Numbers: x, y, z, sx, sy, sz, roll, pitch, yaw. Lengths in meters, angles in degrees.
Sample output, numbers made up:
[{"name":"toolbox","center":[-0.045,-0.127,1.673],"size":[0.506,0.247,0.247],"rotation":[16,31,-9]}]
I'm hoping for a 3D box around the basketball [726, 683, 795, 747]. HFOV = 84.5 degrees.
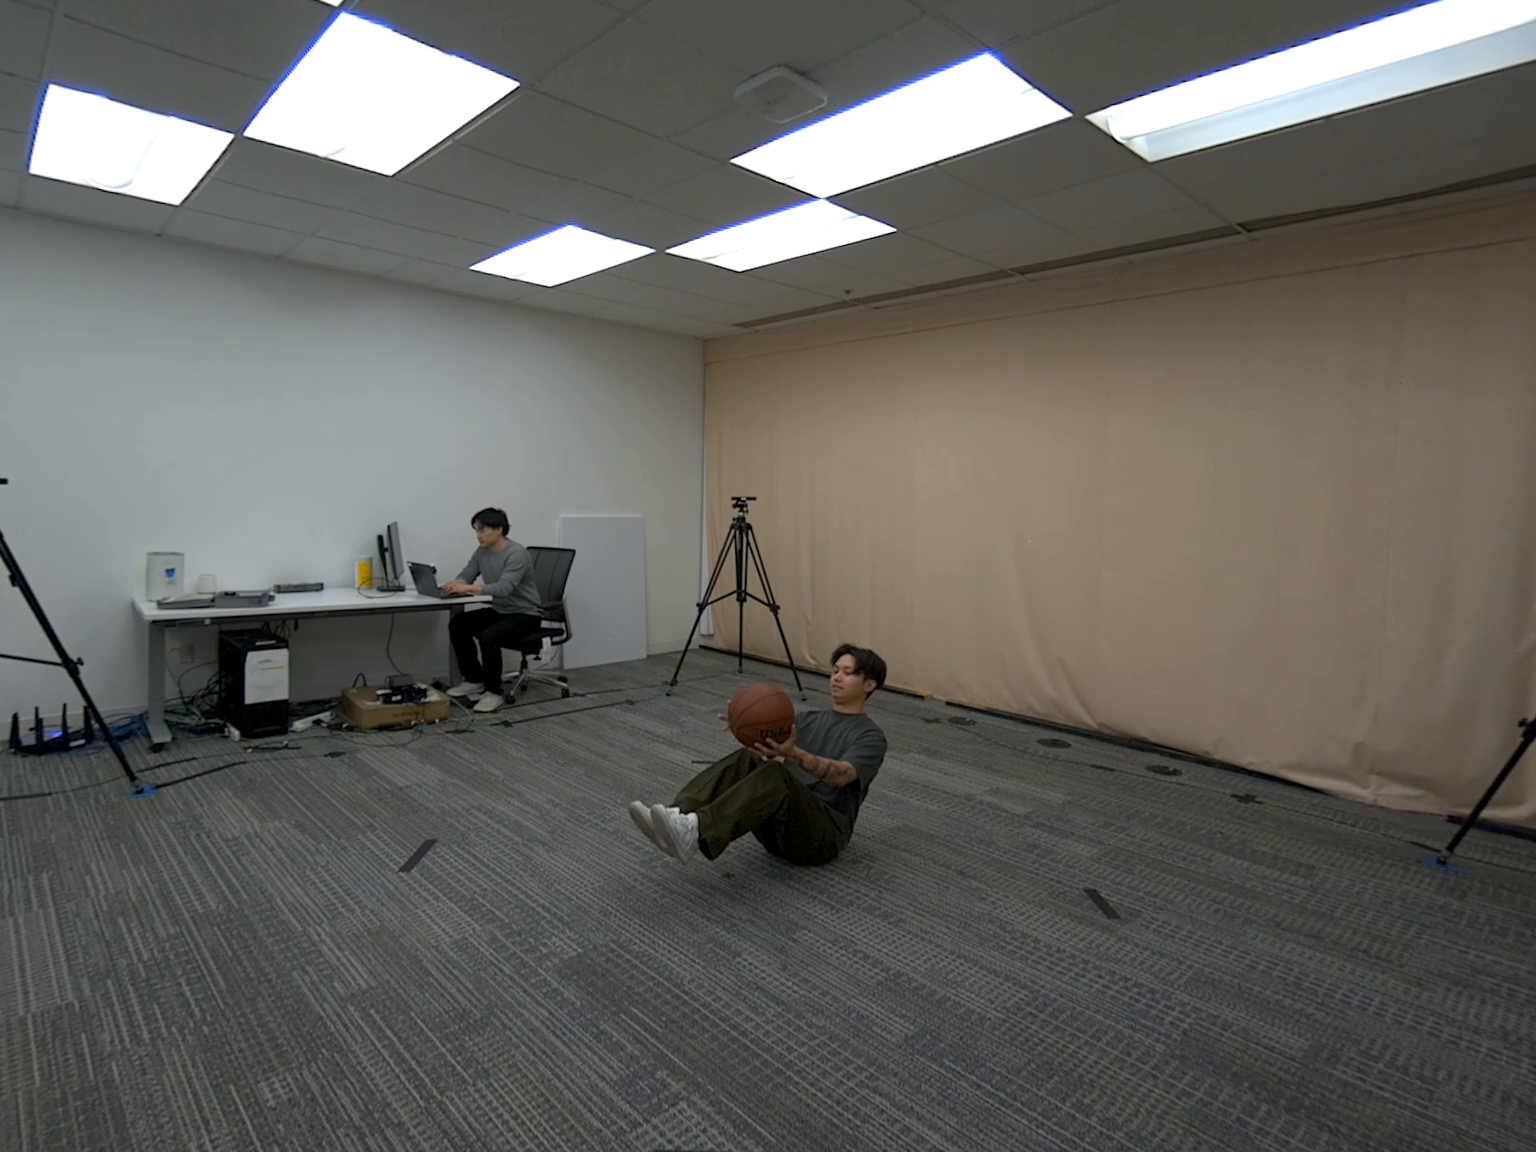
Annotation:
[{"name":"basketball","center":[-0.028,0.509,2.991],"size":[0.236,0.235,0.237],"rotation":[1,4,-1]}]
